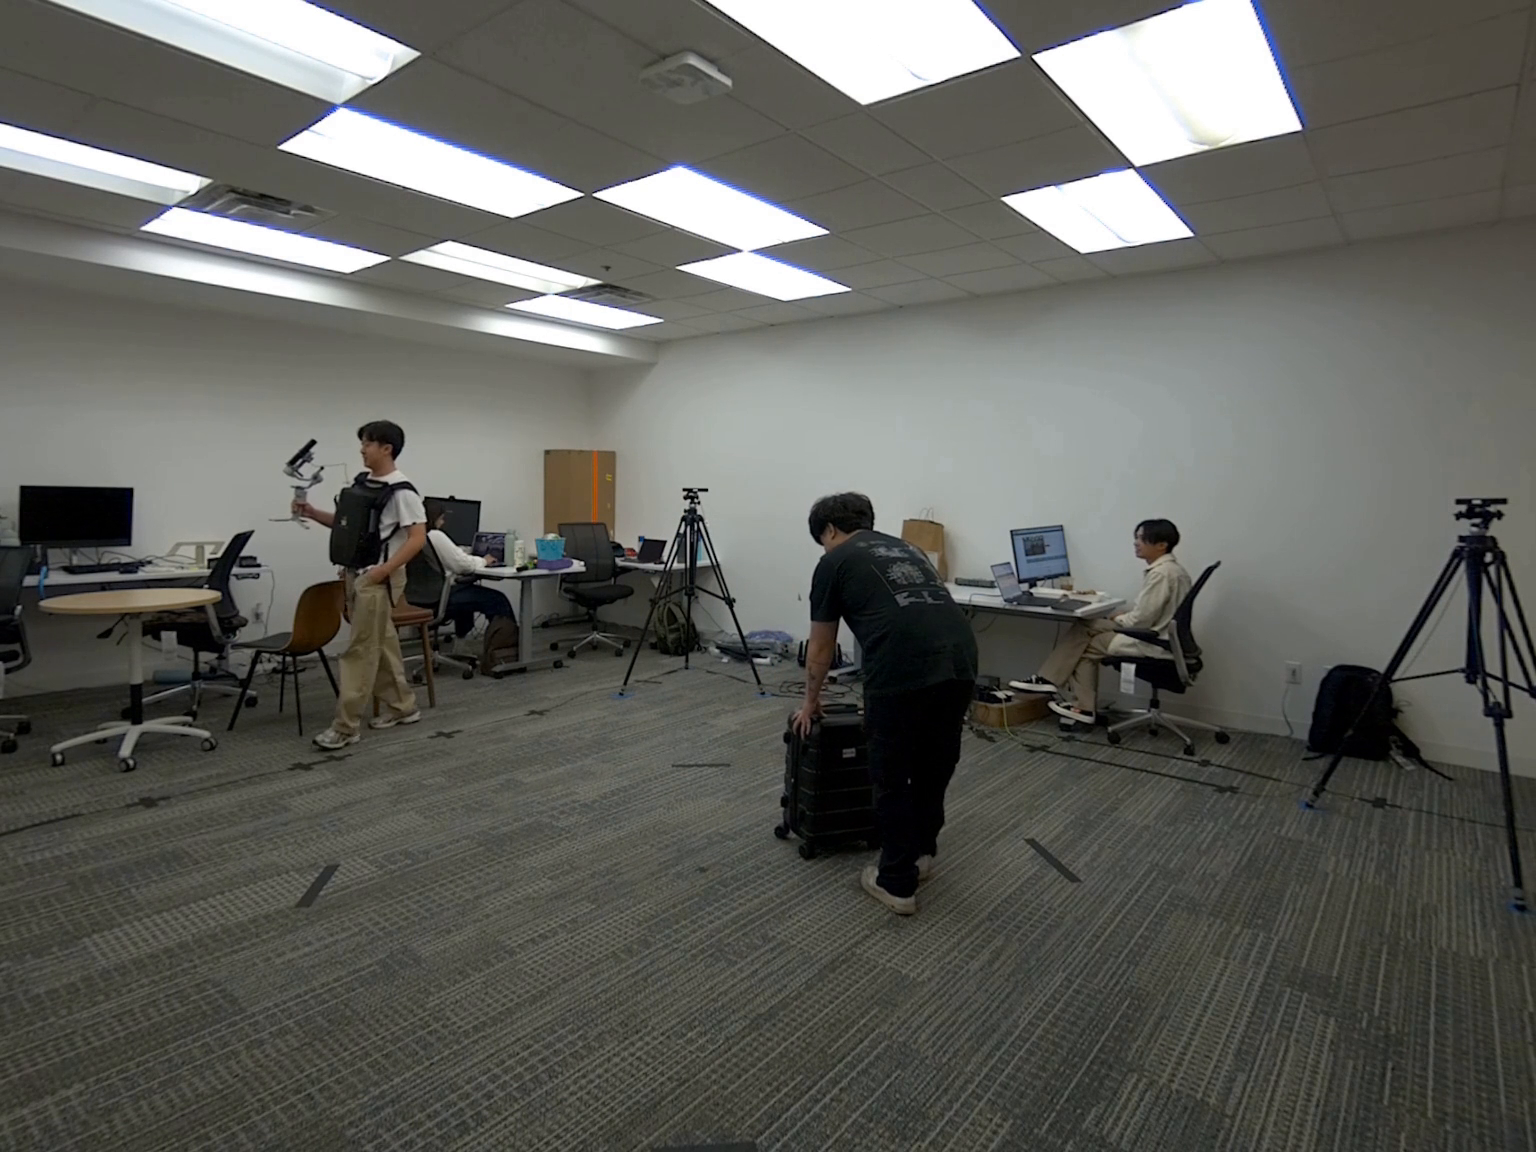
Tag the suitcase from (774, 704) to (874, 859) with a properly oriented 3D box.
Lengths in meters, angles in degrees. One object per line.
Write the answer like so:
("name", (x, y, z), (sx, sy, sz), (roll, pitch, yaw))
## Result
("suitcase", (0.252, 0.782, 3.344), (0.367, 0.547, 0.255), (1, 5, -23))
